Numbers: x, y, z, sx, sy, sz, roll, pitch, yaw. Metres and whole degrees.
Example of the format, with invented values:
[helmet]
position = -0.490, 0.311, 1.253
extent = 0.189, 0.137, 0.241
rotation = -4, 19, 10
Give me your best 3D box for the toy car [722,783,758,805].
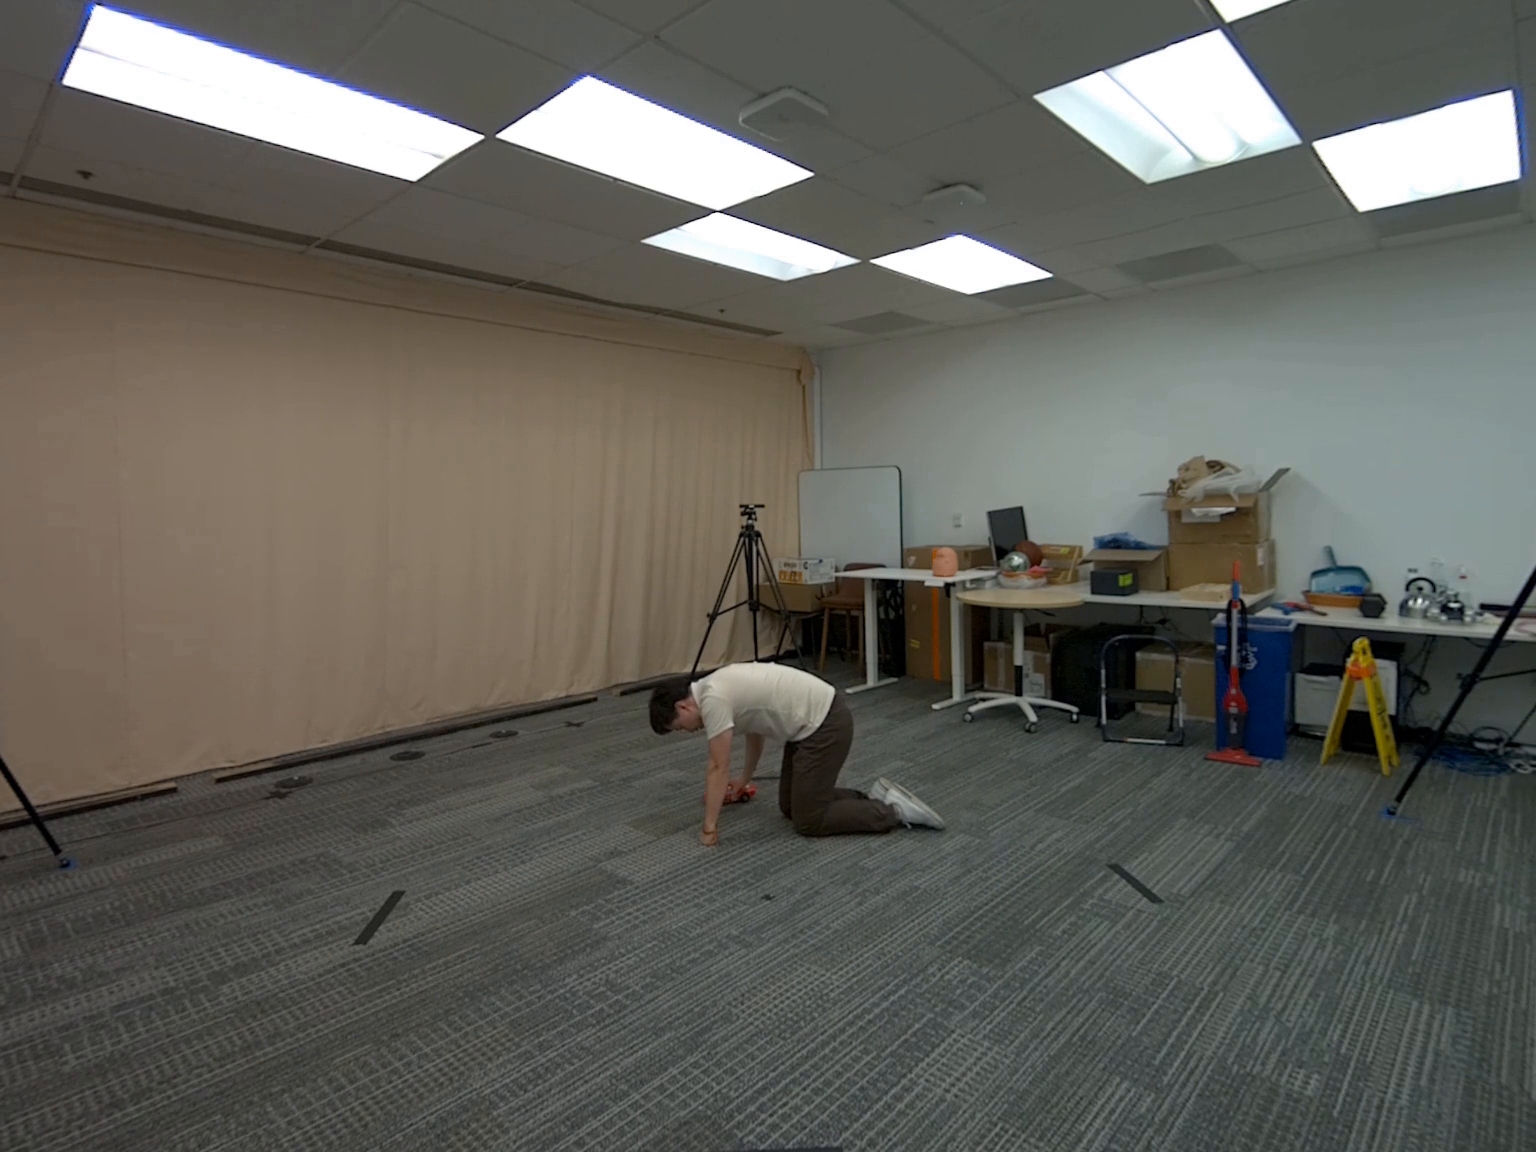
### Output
[toy car]
position = -0.175, 1.032, 3.977
extent = 0.250, 0.083, 0.133
rotation = -15, 8, -20
